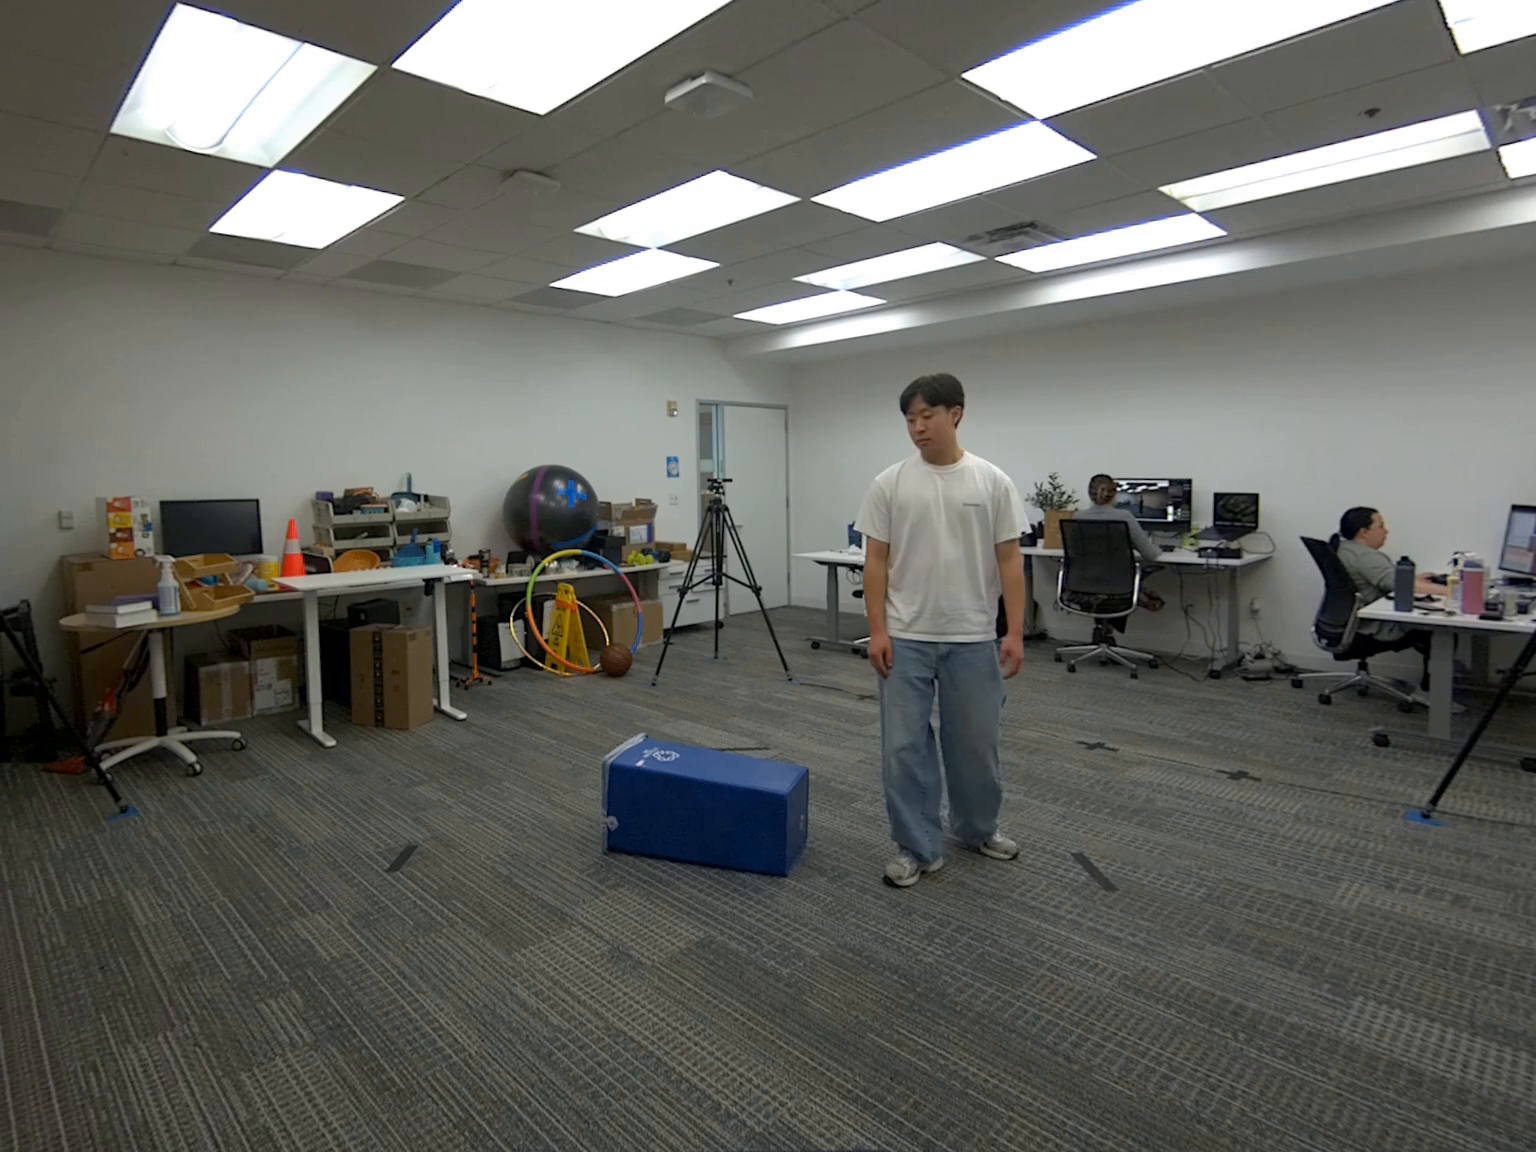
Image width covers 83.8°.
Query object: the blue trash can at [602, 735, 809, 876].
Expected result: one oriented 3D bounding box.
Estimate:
[{"bbox_3d":[-0.227,0.861,3.236,0.728,0.376,0.368,4,6,19],"label":"blue trash can"}]
